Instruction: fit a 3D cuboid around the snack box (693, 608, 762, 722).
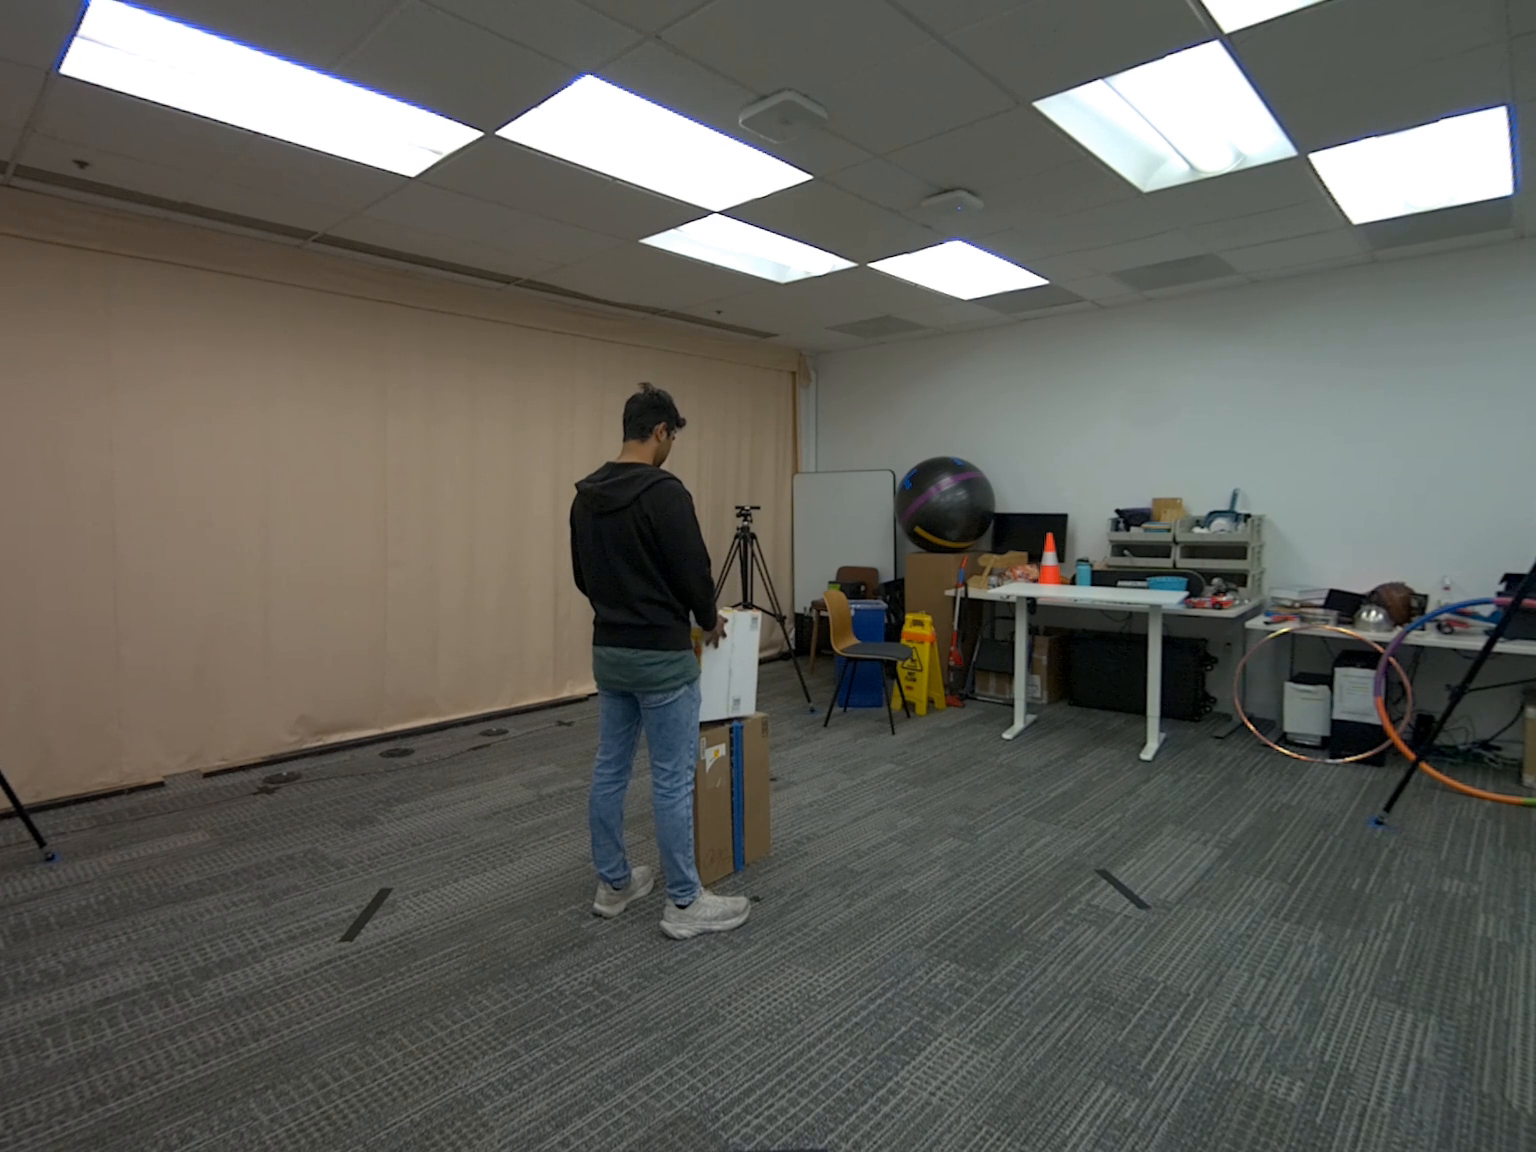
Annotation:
[{"bbox_3d":[-0.214,0.321,3.220,0.212,0.405,0.329,3,-1,40],"label":"snack box"}]
